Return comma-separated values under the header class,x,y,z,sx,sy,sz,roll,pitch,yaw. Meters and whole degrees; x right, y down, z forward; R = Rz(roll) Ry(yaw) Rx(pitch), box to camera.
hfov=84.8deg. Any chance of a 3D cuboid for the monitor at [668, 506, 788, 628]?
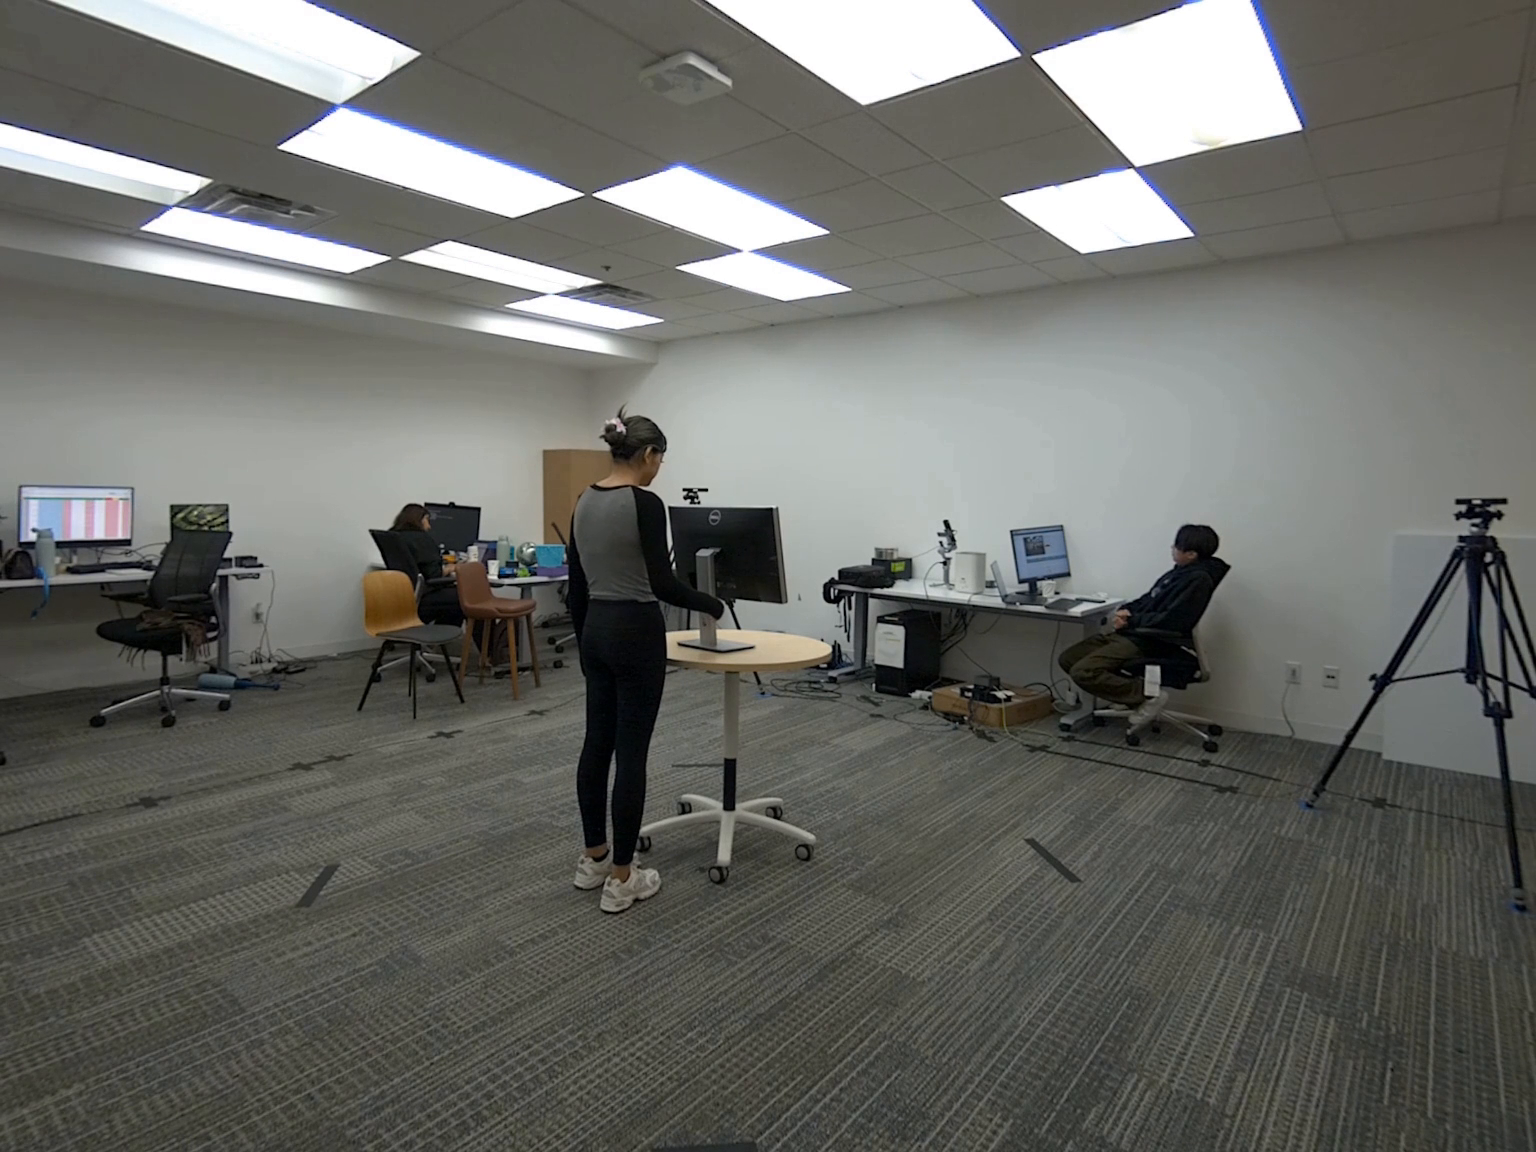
class,x,y,z,sx,sy,sz,roll,pitch,yaw
monitor,-0.204,0.002,3.249,0.557,0.522,0.181,4,2,39
